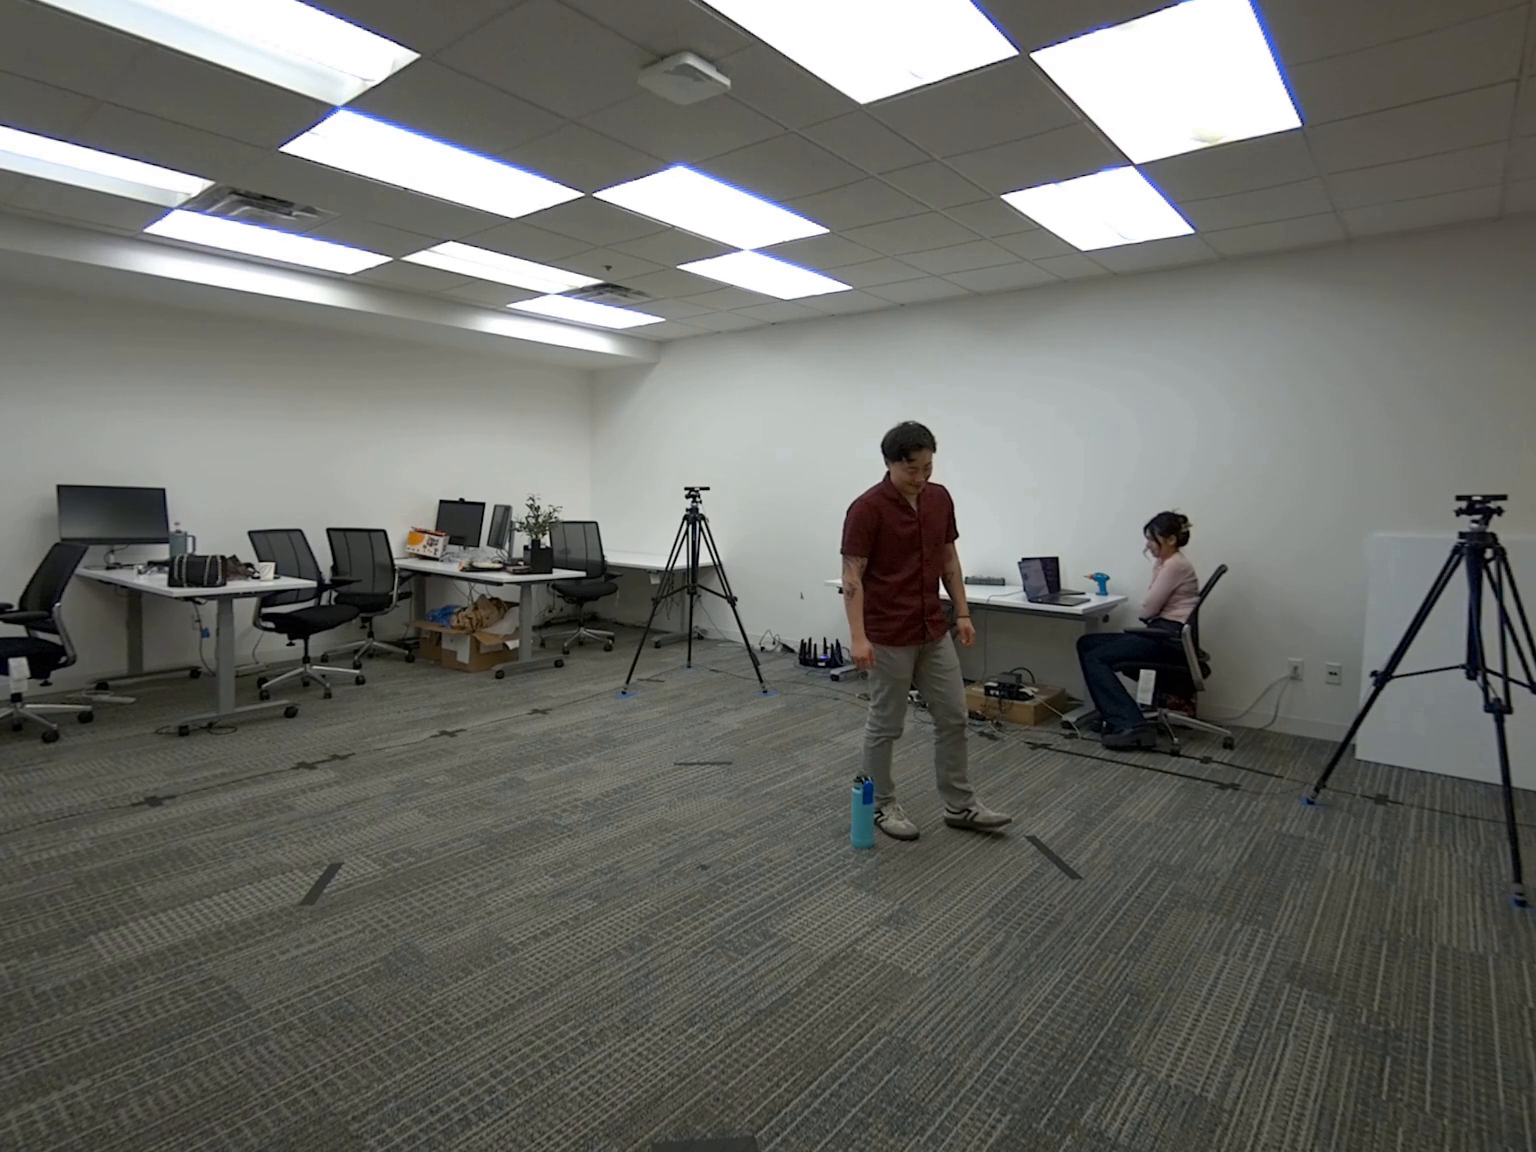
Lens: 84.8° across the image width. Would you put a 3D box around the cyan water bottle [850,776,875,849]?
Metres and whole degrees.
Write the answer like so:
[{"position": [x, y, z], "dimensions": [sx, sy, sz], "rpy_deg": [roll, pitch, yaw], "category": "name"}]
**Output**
[{"position": [0.369, 0.914, 3.345], "dimensions": [0.092, 0.282, 0.093], "rpy_deg": [1, 3, -2], "category": "cyan water bottle"}]
